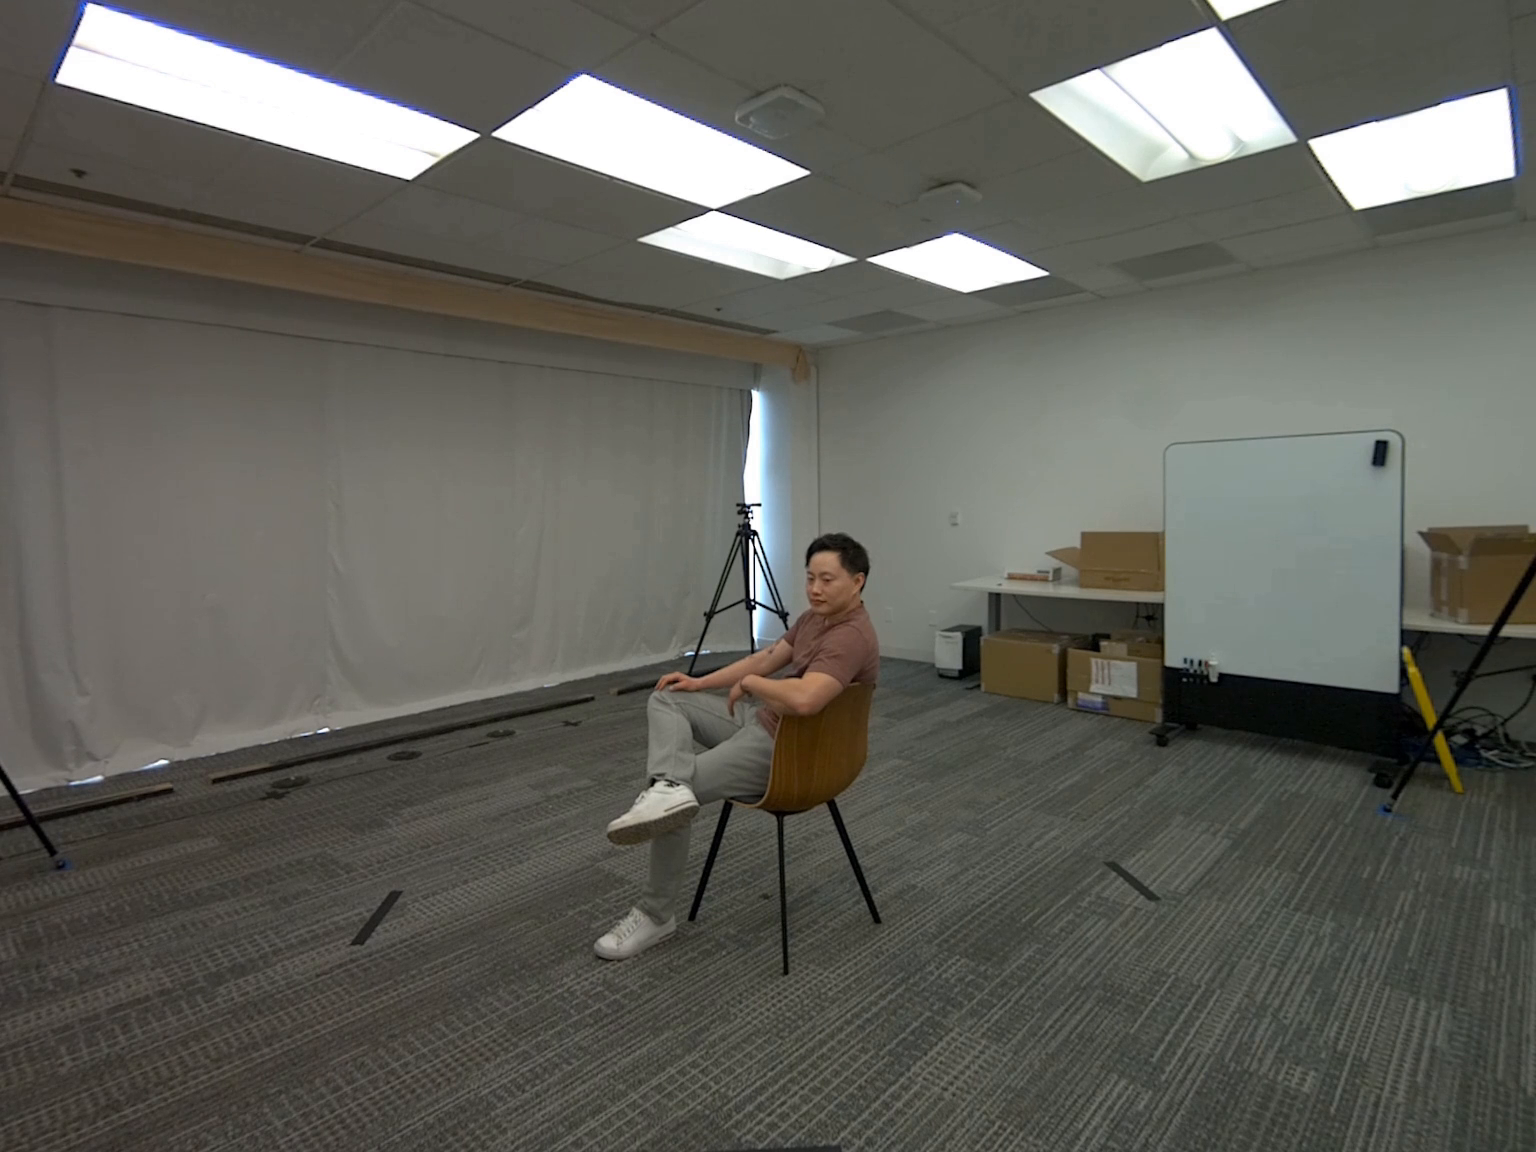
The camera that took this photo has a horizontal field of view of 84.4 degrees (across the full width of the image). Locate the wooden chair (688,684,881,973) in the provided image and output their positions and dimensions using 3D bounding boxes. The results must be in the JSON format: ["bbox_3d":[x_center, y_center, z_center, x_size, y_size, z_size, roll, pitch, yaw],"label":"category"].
[{"bbox_3d":[0.047,0.727,2.778,0.463,0.874,0.541,-4,9,-43],"label":"wooden chair"}]
